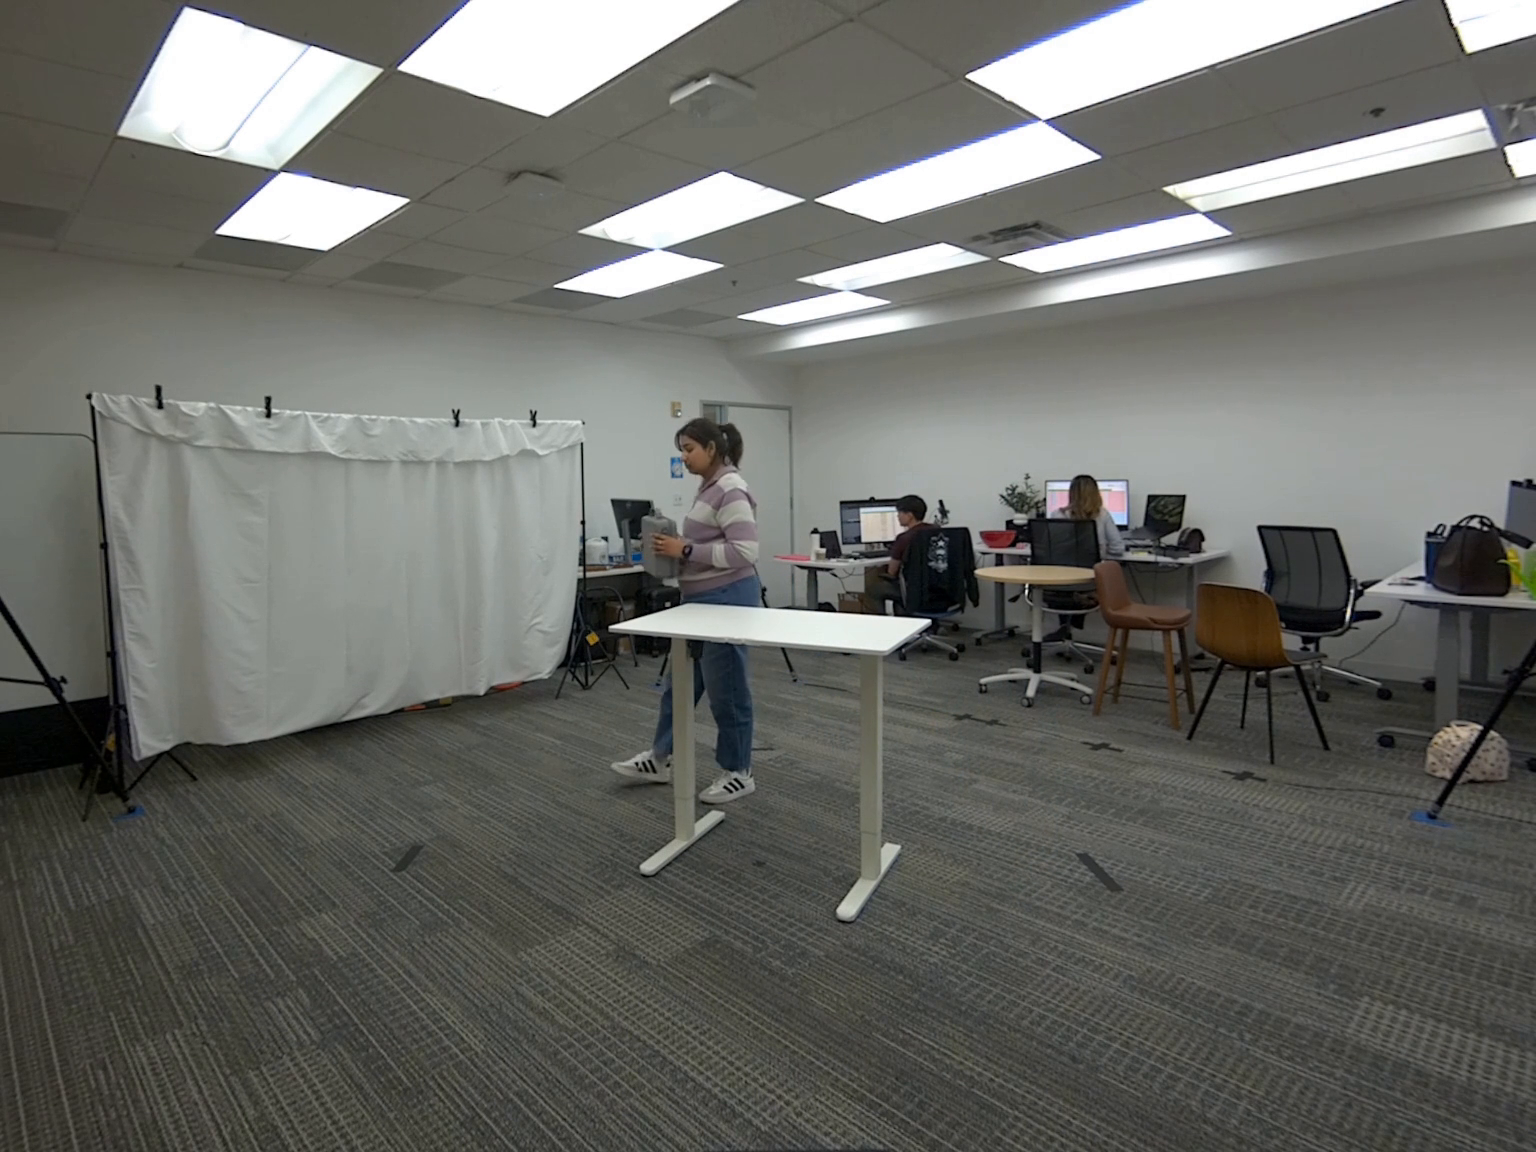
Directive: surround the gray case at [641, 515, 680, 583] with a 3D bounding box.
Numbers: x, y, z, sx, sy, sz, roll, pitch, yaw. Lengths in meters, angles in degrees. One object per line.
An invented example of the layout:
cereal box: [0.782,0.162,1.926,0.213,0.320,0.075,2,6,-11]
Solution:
gray case: [-0.472,-0.137,3.724,0.102,0.258,0.263,-6,10,-21]
